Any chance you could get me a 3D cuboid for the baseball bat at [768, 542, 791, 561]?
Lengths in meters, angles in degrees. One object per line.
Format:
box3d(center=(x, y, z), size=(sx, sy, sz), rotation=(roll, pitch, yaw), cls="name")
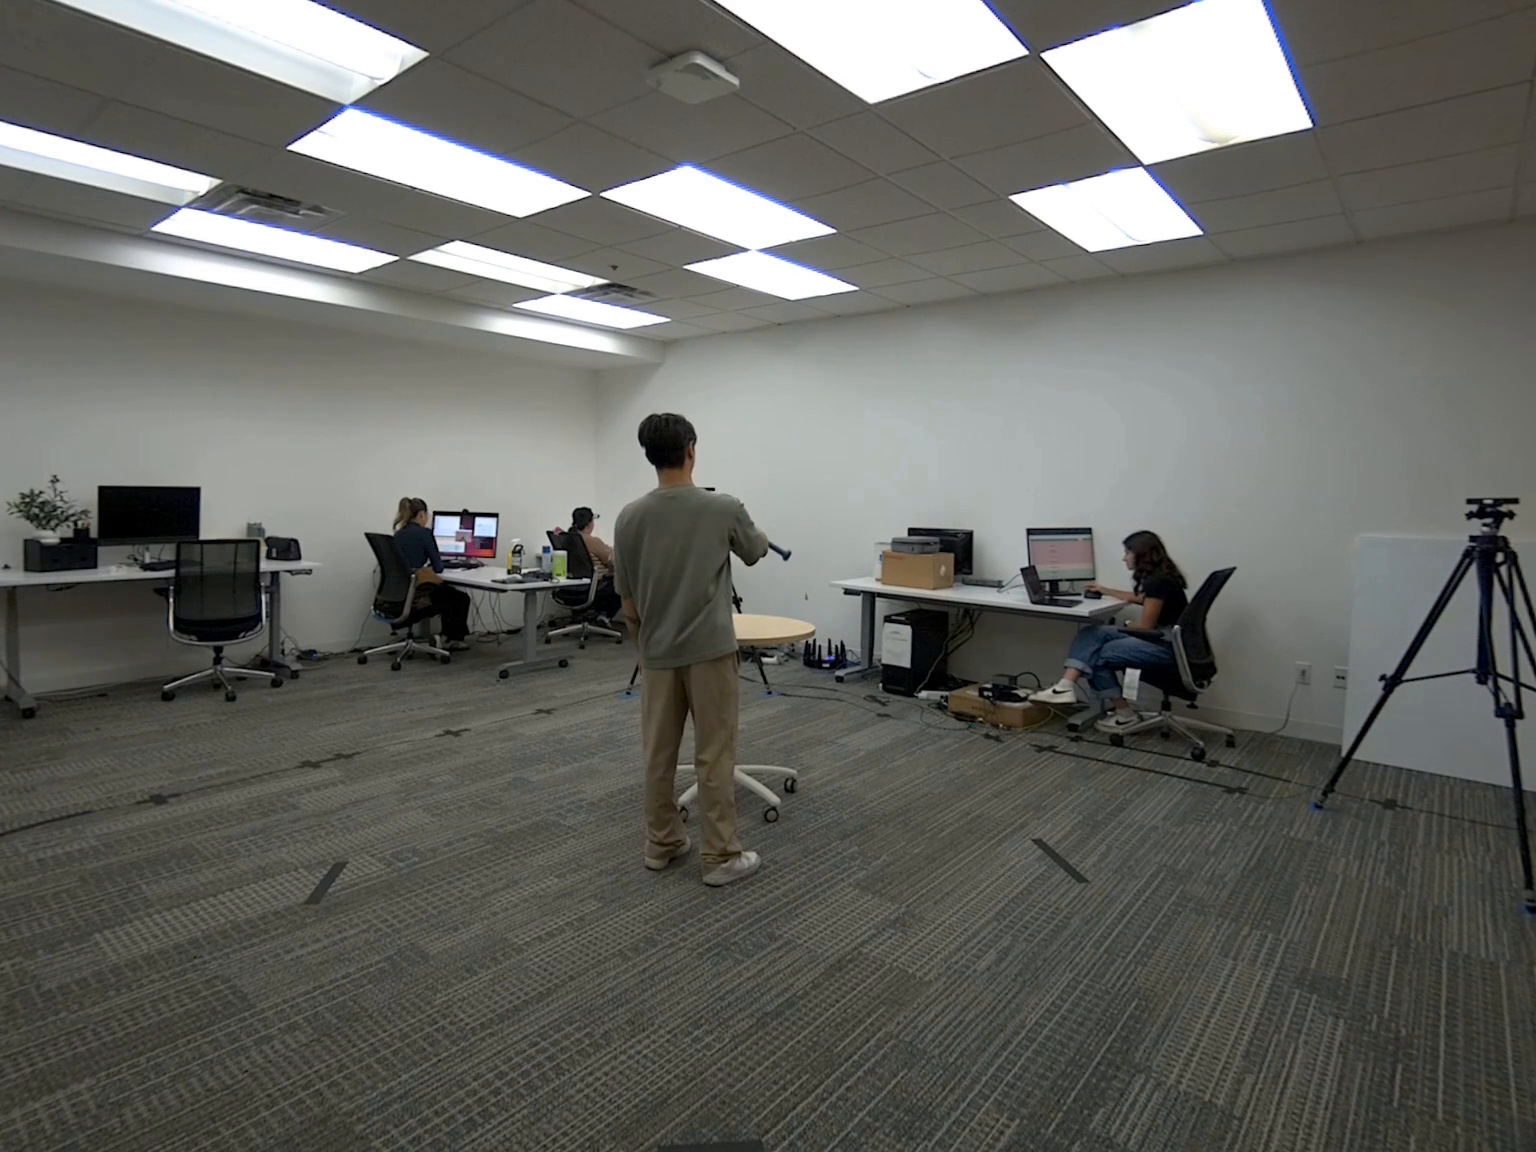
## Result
box3d(center=(-0.143, -0.224, 3.607), size=(0.545, 0.089, 0.089), rotation=(32, 5, 3), cls="baseball bat")
